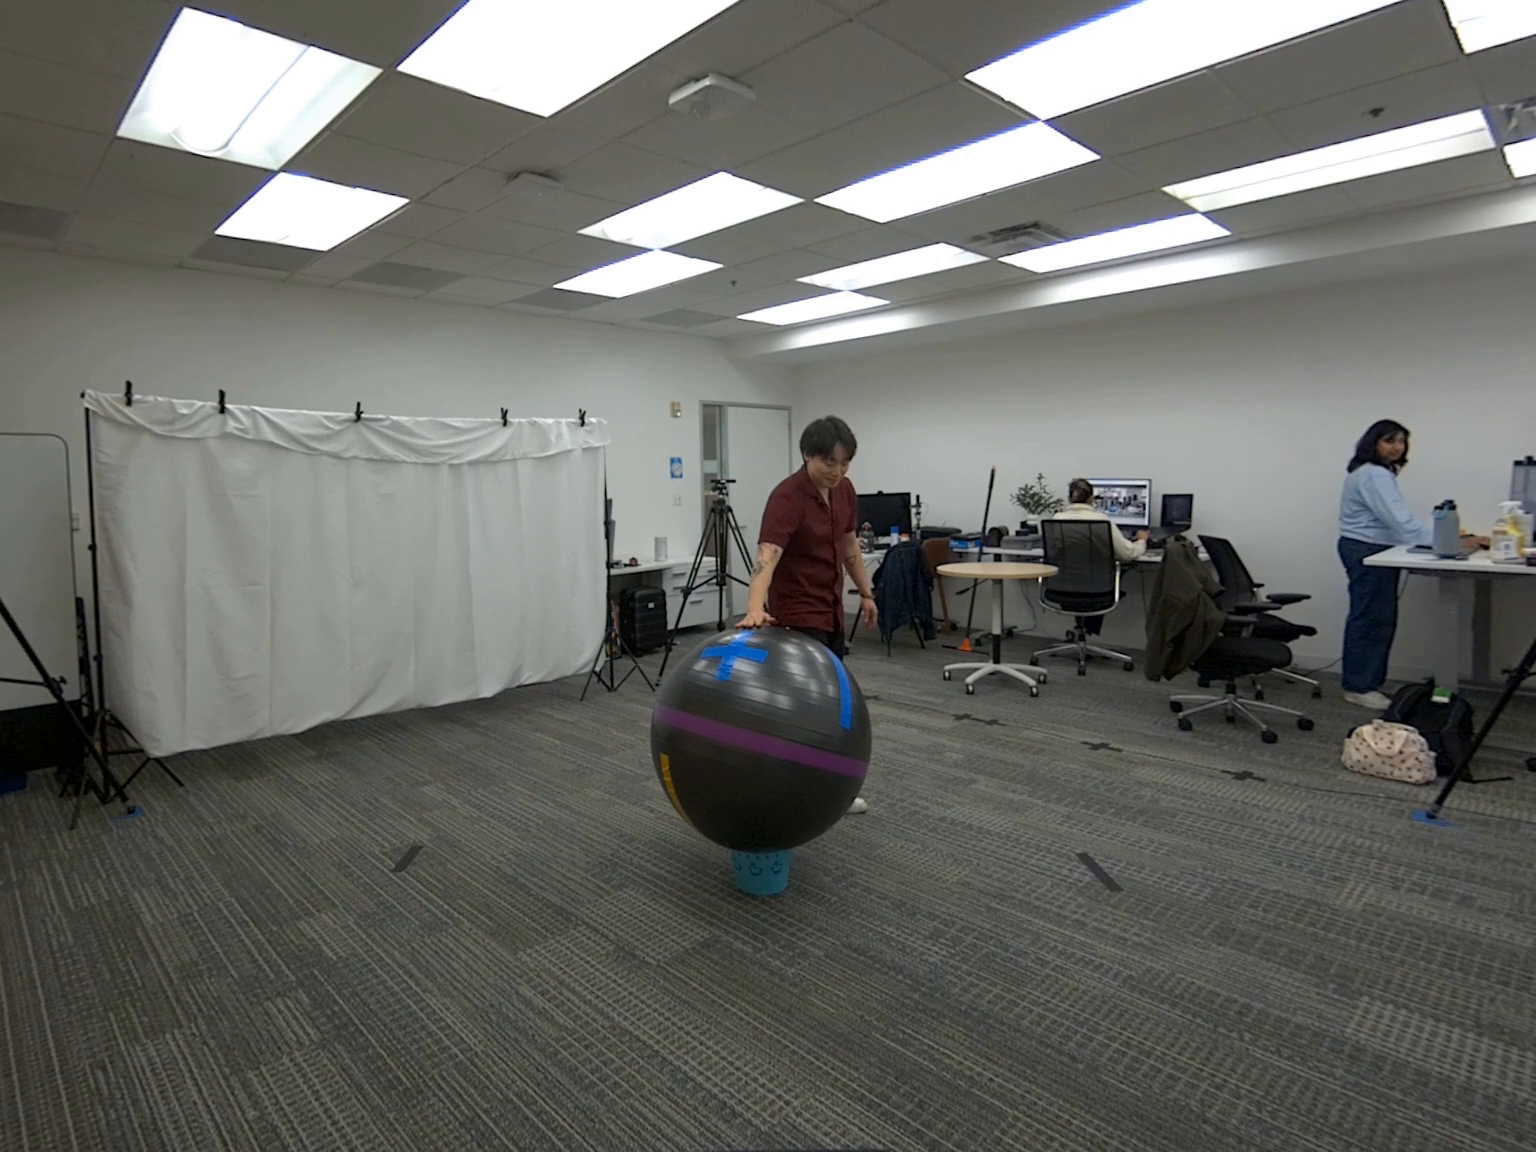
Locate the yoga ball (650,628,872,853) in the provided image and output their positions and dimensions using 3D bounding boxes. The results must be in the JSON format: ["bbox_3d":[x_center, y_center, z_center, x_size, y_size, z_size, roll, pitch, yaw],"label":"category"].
[{"bbox_3d":[-0.021,0.552,2.955,0.757,0.755,0.762,-1,5,-2],"label":"yoga ball"}]
